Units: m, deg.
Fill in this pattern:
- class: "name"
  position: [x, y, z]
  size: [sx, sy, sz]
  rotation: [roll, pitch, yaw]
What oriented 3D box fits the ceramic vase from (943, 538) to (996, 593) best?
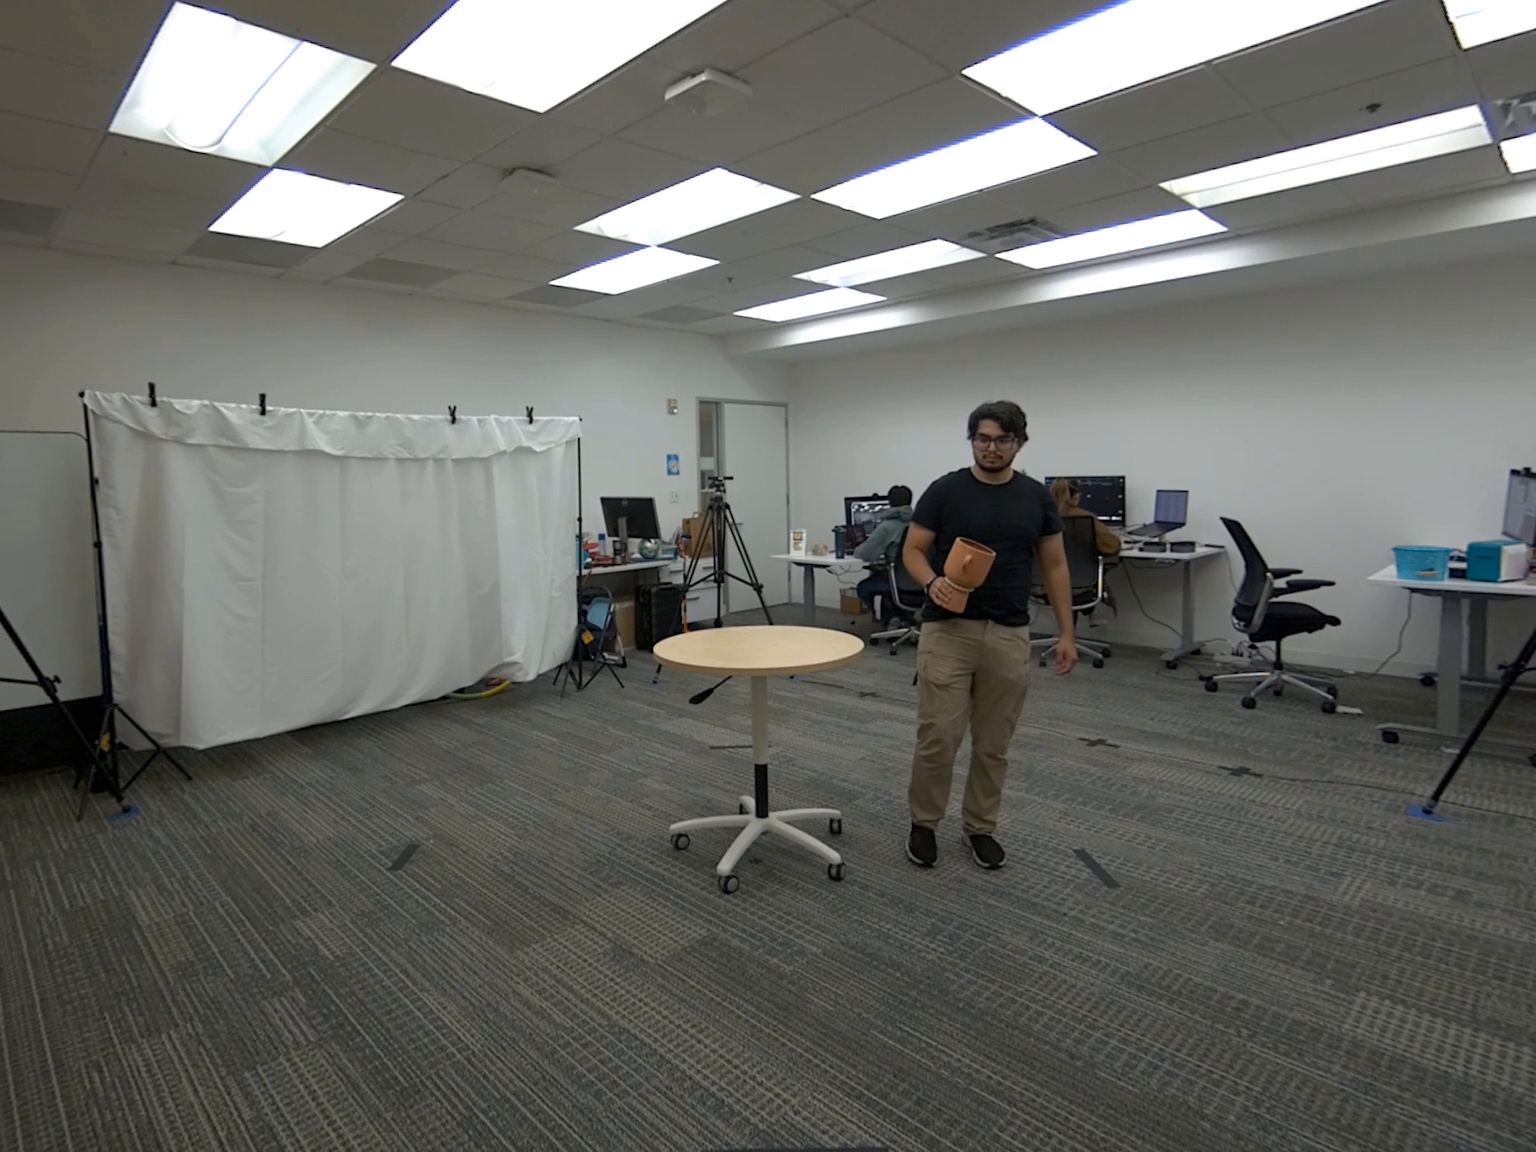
- class: "ceramic vase"
  position: [0.623, 0.003, 2.785]
  size: [0.154, 0.218, 0.139]
  rotation: [11, 19, -30]
